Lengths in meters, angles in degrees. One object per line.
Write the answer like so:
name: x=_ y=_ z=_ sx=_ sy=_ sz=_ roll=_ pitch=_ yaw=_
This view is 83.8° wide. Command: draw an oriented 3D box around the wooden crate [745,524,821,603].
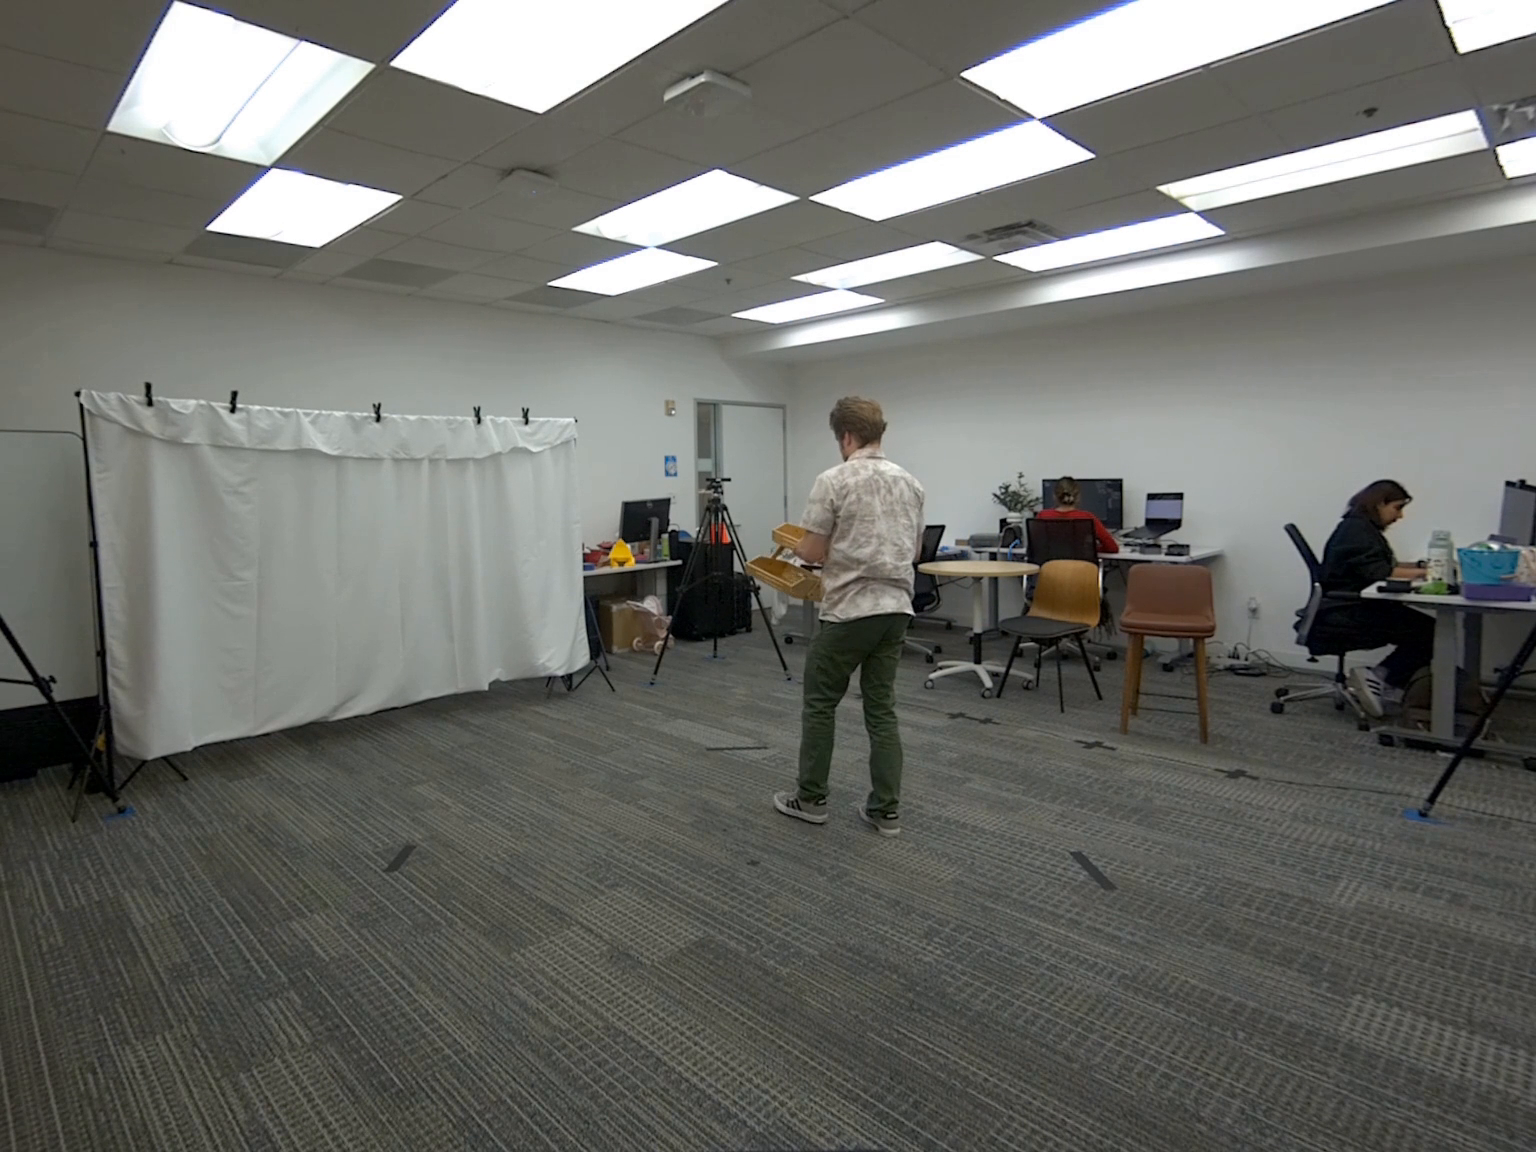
wooden crate: x=0.130 y=-0.070 z=3.710 sx=0.292 sy=0.272 sz=0.337 roll=12 pitch=10 yaw=-45
